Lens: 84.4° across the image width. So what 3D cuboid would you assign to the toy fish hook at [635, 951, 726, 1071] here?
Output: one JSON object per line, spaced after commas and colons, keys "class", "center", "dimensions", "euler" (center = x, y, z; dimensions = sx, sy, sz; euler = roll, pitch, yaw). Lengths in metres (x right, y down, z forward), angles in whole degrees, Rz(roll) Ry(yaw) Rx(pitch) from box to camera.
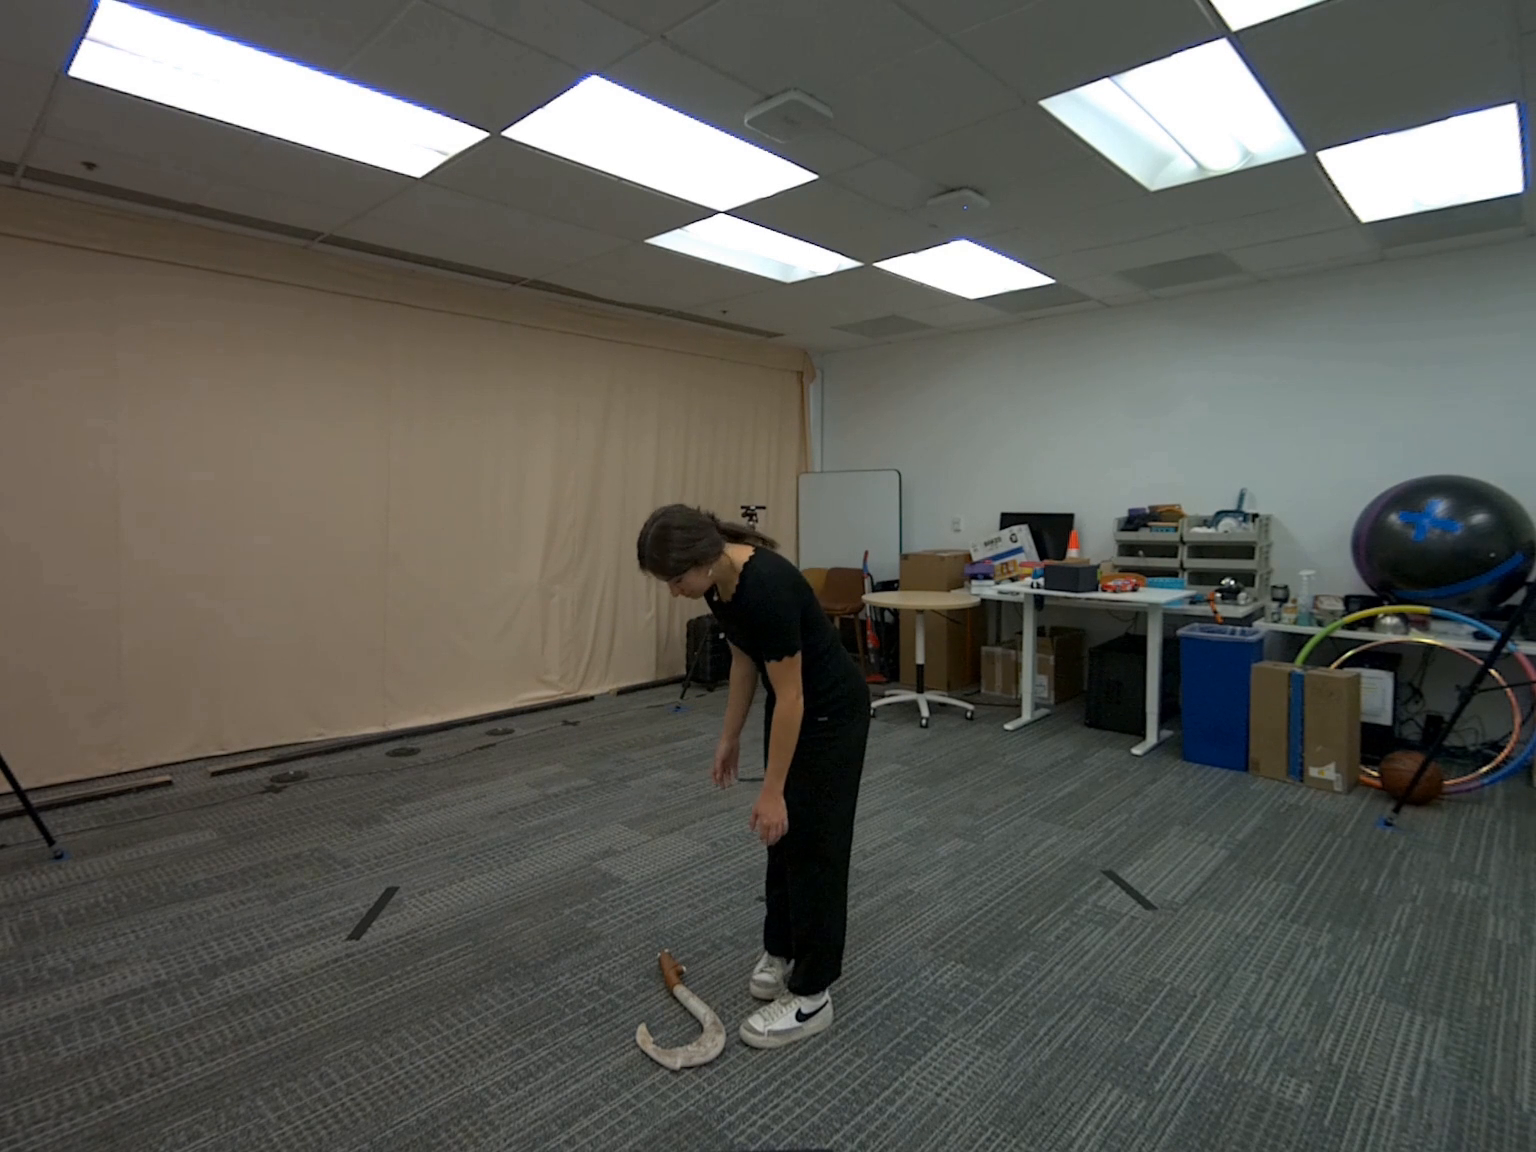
{"class": "toy fish hook", "center": [-0.270, 1.182, 2.316], "dimensions": [0.220, 0.048, 0.518], "euler": [-1, 4, -21]}
